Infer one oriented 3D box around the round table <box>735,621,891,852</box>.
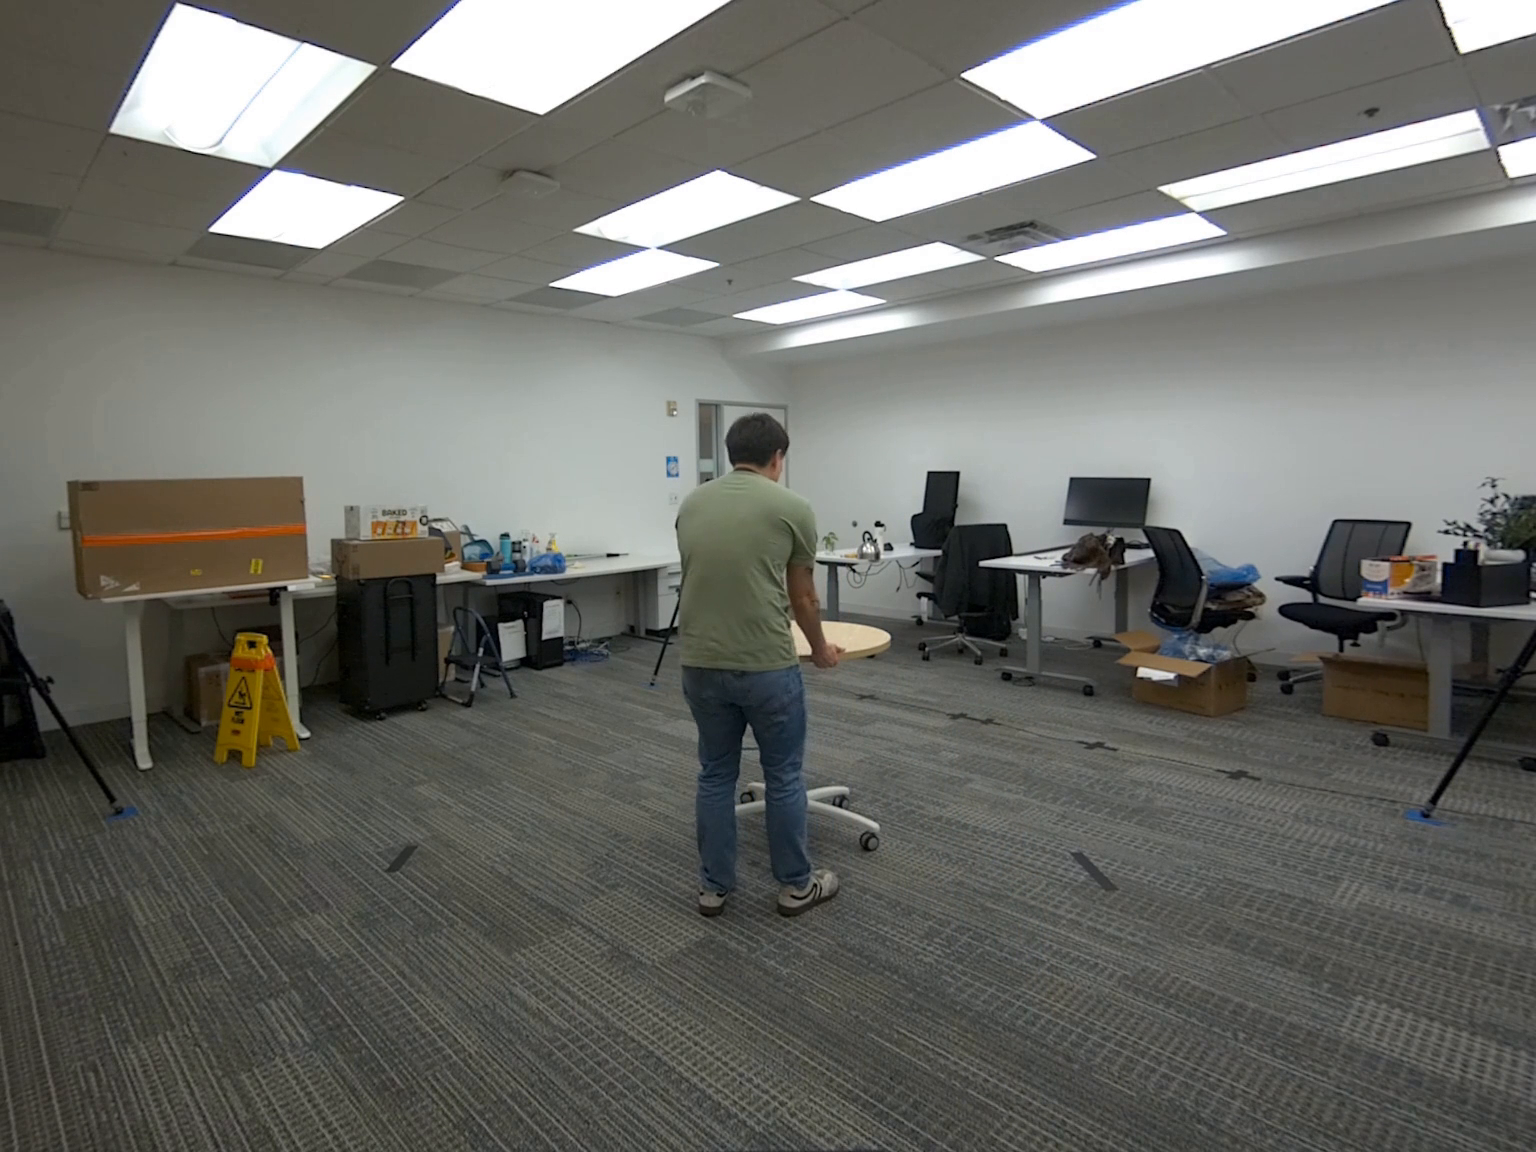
[{"bbox_3d":[0.099,0.627,3.350,0.763,0.791,0.768,-1,5,-2],"label":"round table"}]
